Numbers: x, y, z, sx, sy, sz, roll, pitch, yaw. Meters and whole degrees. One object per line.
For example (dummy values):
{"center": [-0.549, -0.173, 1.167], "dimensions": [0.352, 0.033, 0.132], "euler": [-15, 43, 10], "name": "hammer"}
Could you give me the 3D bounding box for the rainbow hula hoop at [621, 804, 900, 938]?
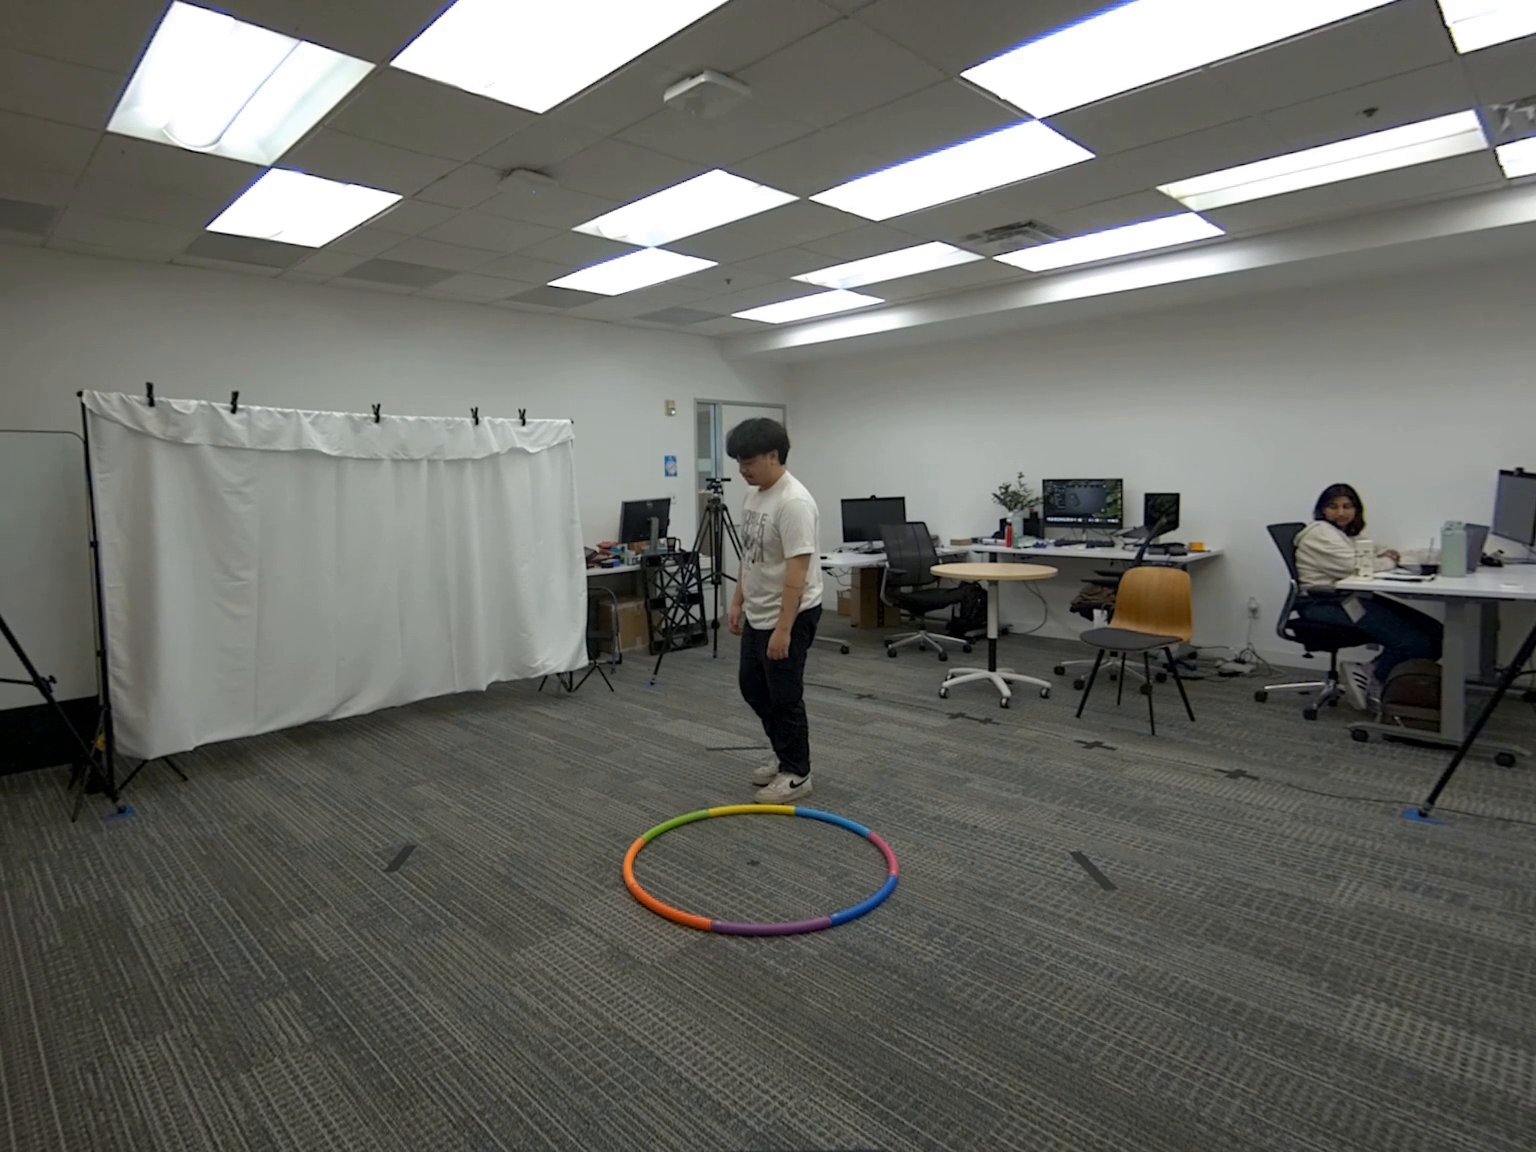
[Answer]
{"center": [-0.027, 1.018, 3.092], "dimensions": [0.985, 0.051, 0.991], "euler": [-1, 7, -2], "name": "rainbow hula hoop"}
